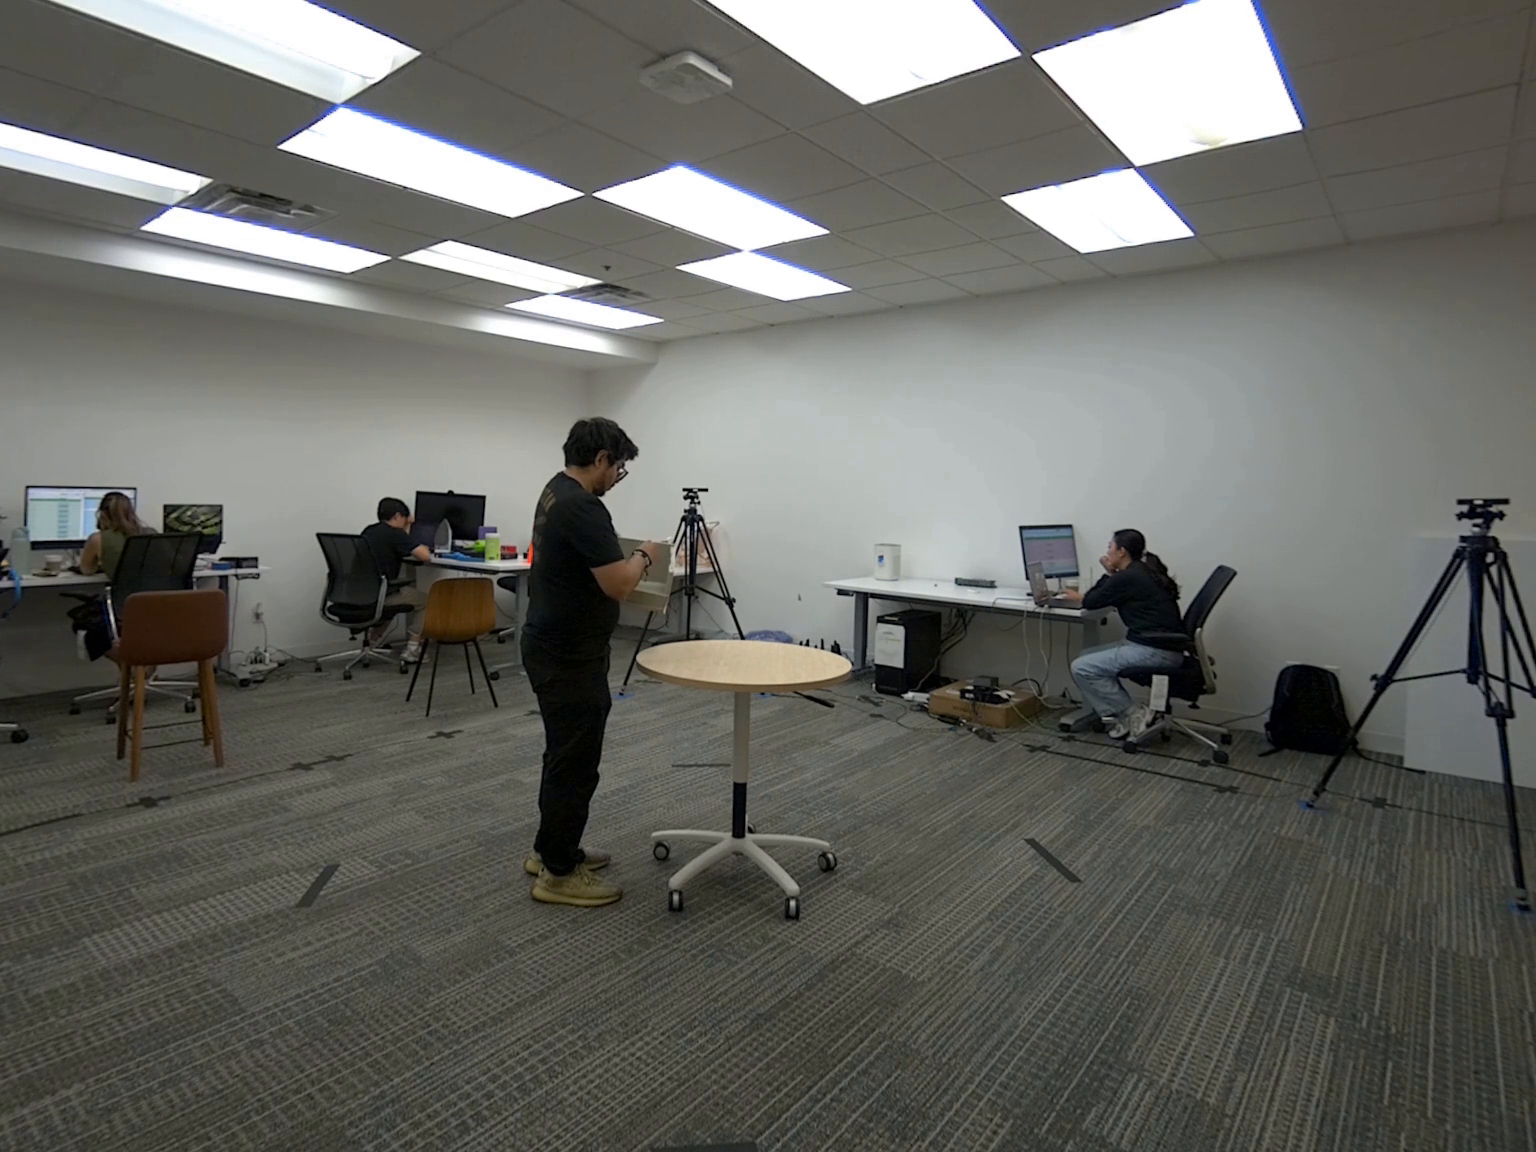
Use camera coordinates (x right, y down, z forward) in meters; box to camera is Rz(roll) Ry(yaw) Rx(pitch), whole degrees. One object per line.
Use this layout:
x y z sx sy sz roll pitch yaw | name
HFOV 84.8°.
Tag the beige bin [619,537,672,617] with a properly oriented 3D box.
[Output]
-0.580 -0.019 3.203 0.420 0.187 0.383 7 13 -5 | beige bin
